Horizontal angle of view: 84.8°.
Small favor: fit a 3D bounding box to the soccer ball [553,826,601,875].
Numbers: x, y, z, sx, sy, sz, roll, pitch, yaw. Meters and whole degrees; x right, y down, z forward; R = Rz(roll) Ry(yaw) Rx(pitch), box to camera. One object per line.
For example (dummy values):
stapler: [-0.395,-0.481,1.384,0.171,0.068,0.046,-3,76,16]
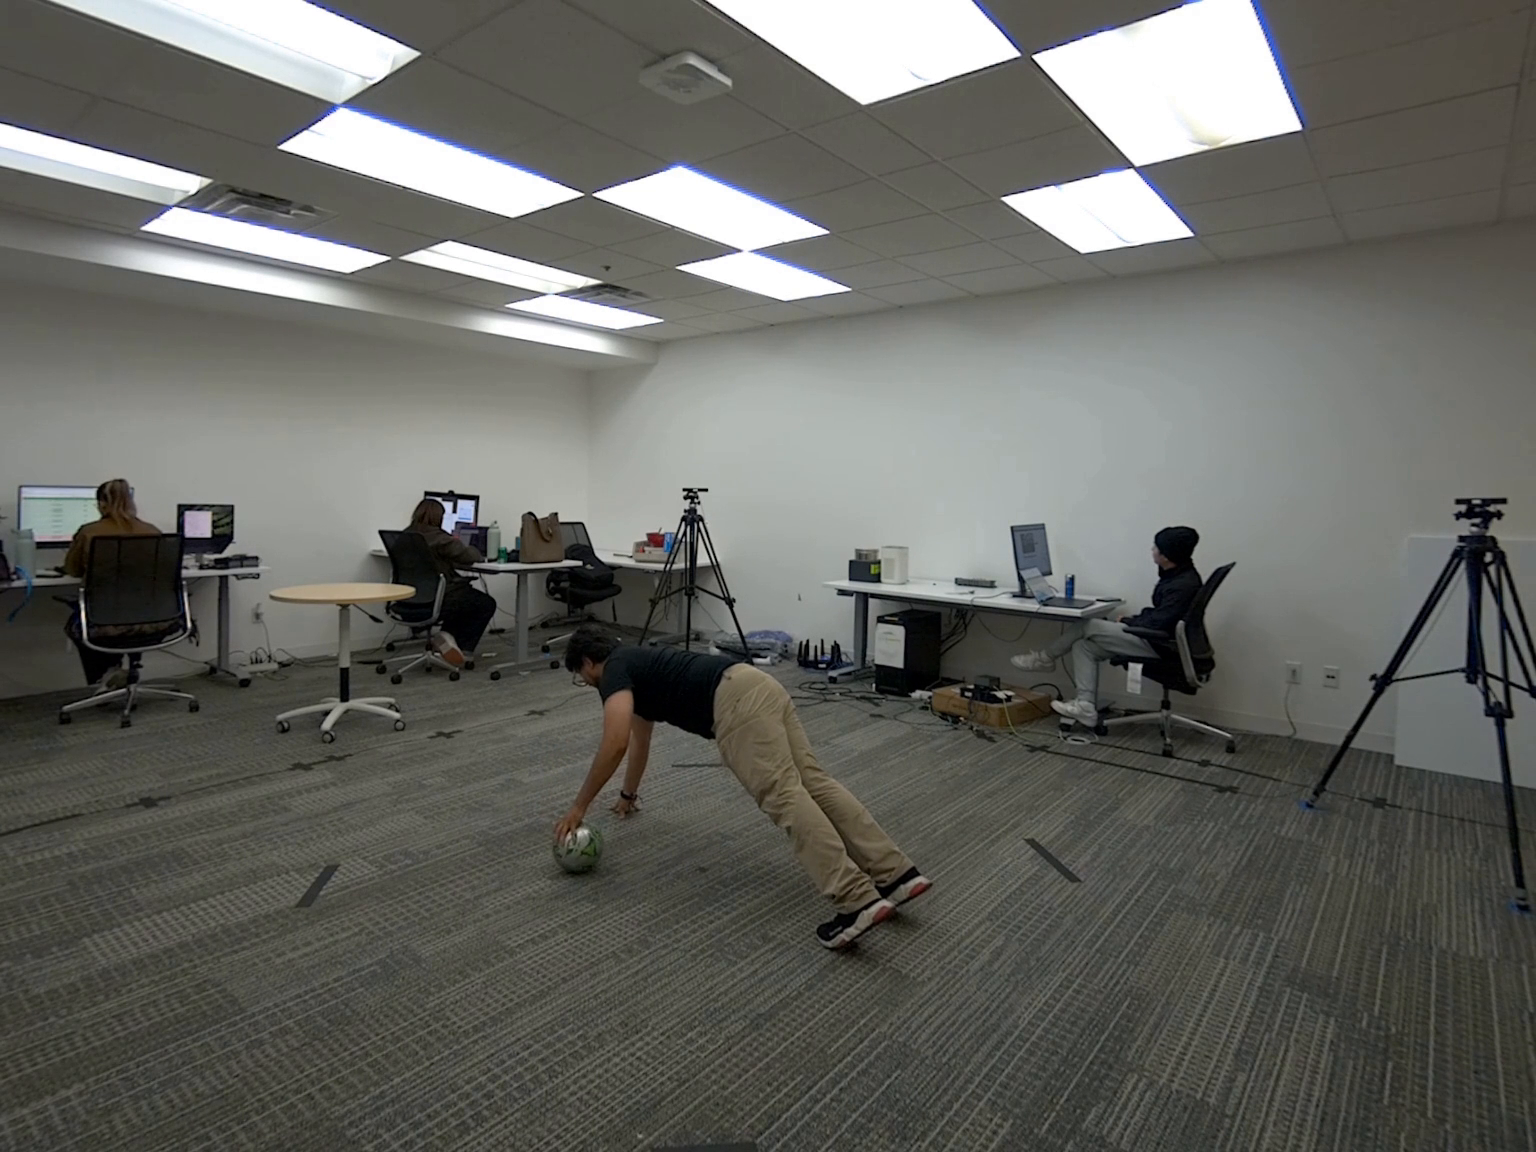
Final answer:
soccer ball: [-0.691,0.973,3.097,0.187,0.187,0.188,1,4,-2]
